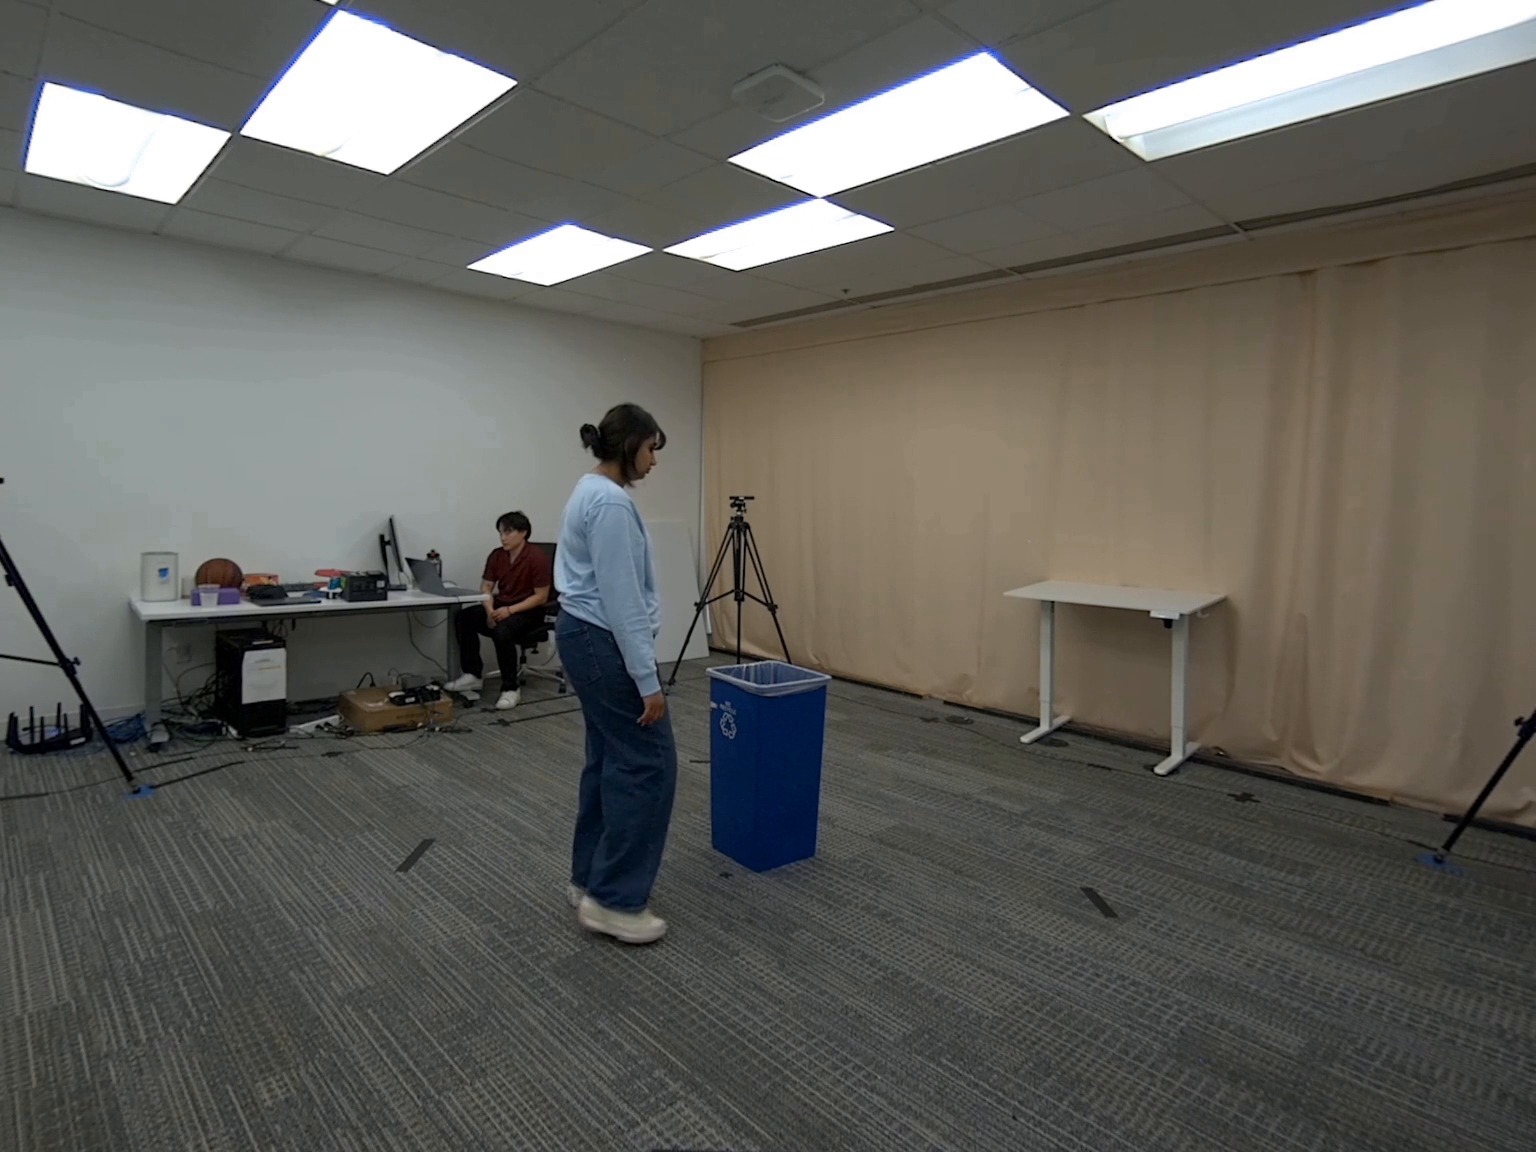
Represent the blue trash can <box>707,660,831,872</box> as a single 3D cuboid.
[{"bbox_3d":[-0.012,0.732,3.307,0.370,0.712,0.383,-2,4,-37],"label":"blue trash can"}]
